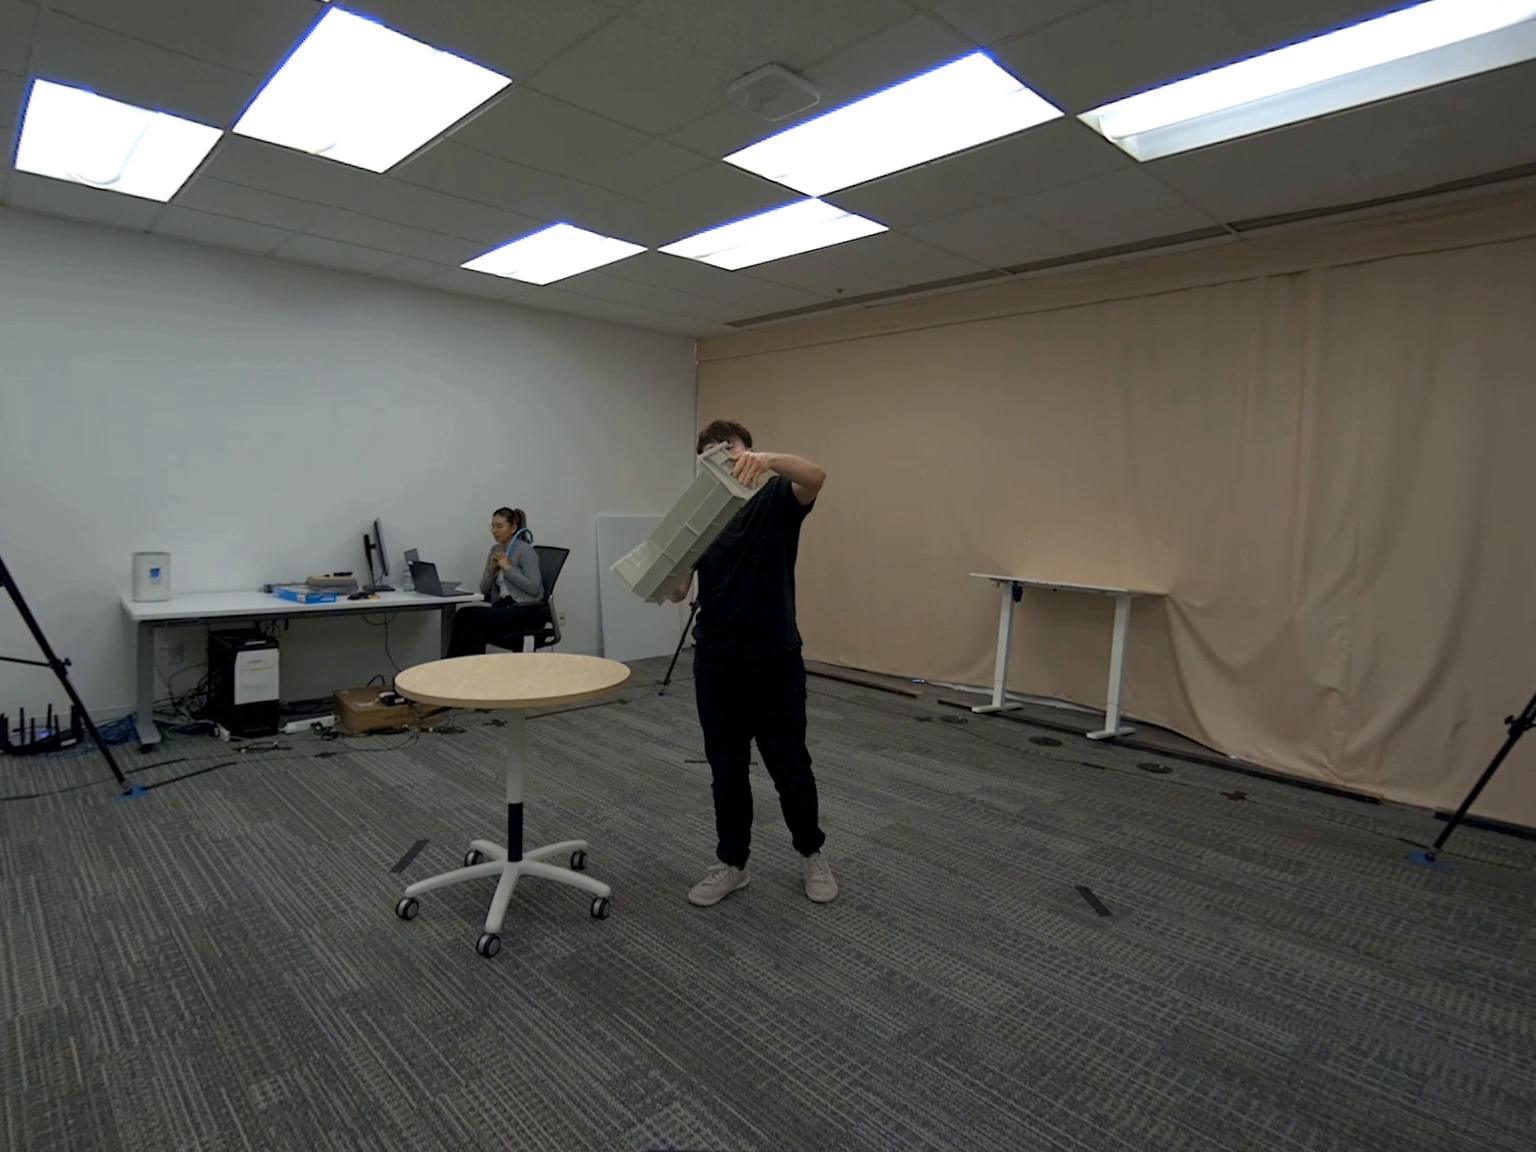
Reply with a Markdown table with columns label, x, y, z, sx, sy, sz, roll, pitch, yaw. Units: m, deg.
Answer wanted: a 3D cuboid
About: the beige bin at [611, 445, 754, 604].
| label | x | y | z | sx | sy | sz | roll | pitch | yaw |
| --- | --- | --- | --- | --- | --- | --- | --- | --- | --- |
| beige bin | -0.229 | -0.153 | 2.440 | 0.189 | 0.422 | 0.377 | 41 | 19 | -1 |
